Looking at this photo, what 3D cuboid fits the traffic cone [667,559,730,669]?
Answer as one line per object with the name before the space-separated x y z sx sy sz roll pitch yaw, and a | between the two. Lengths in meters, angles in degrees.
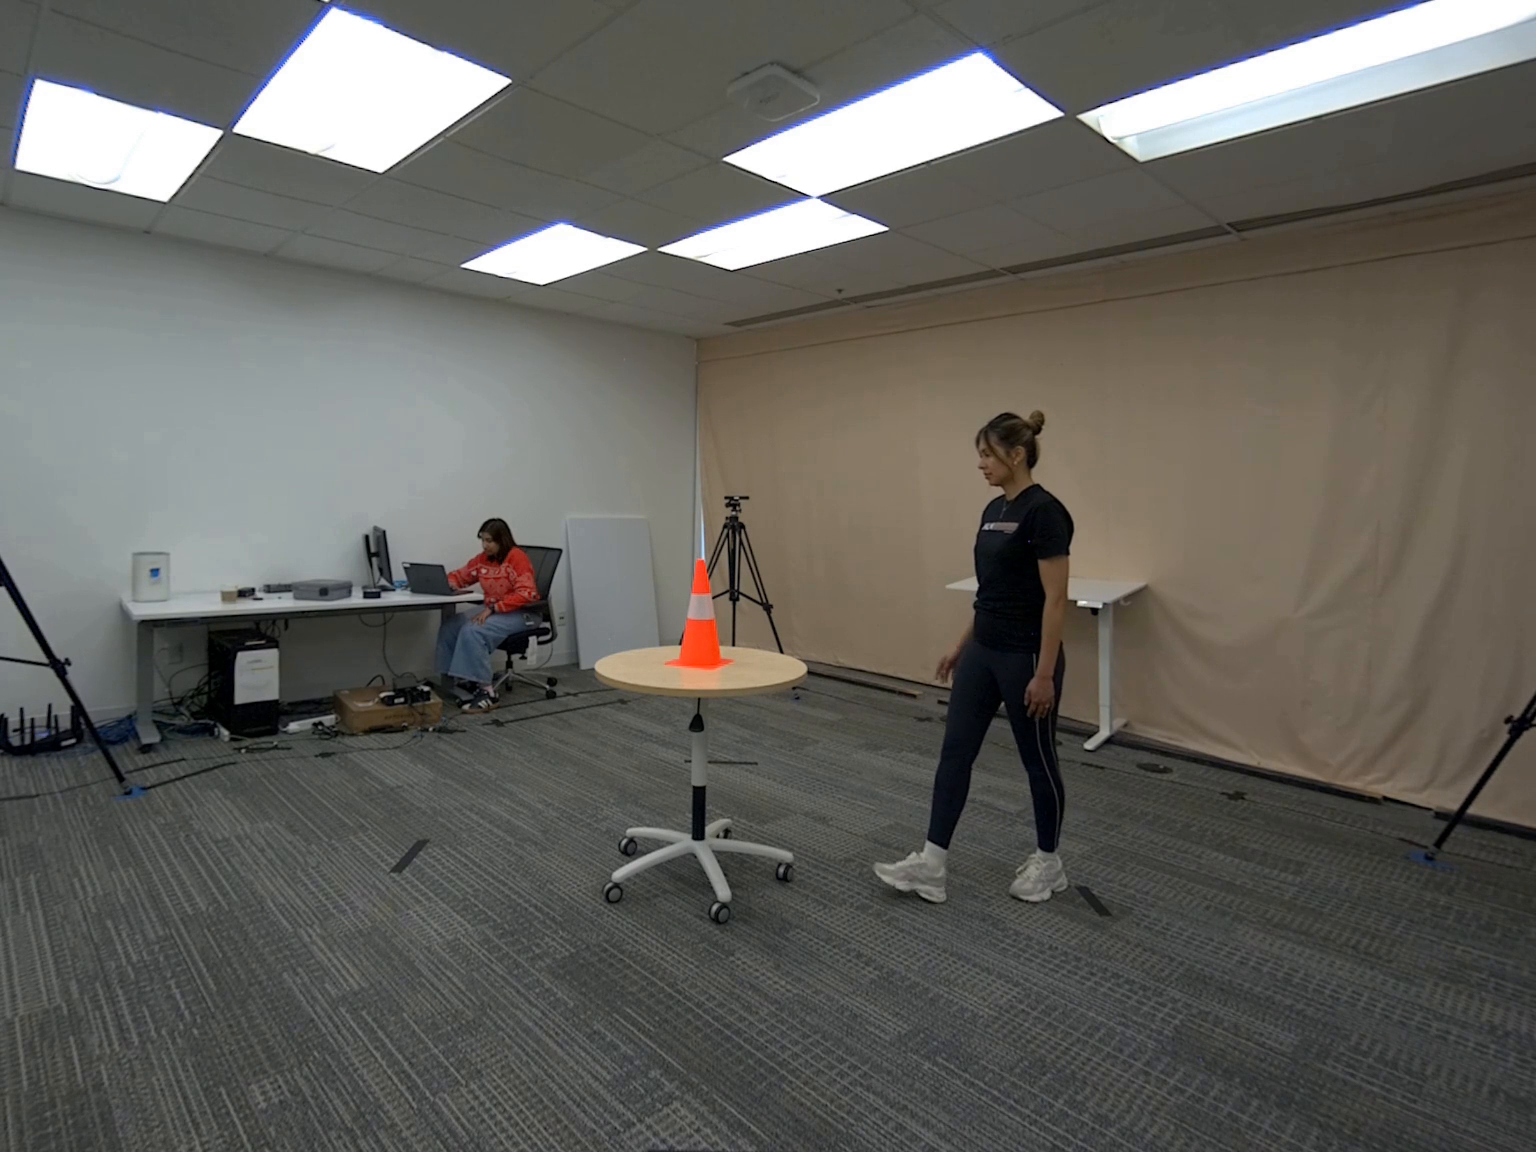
traffic cone | -0.248 0.135 3.073 0.209 0.383 0.200 2 3 24
